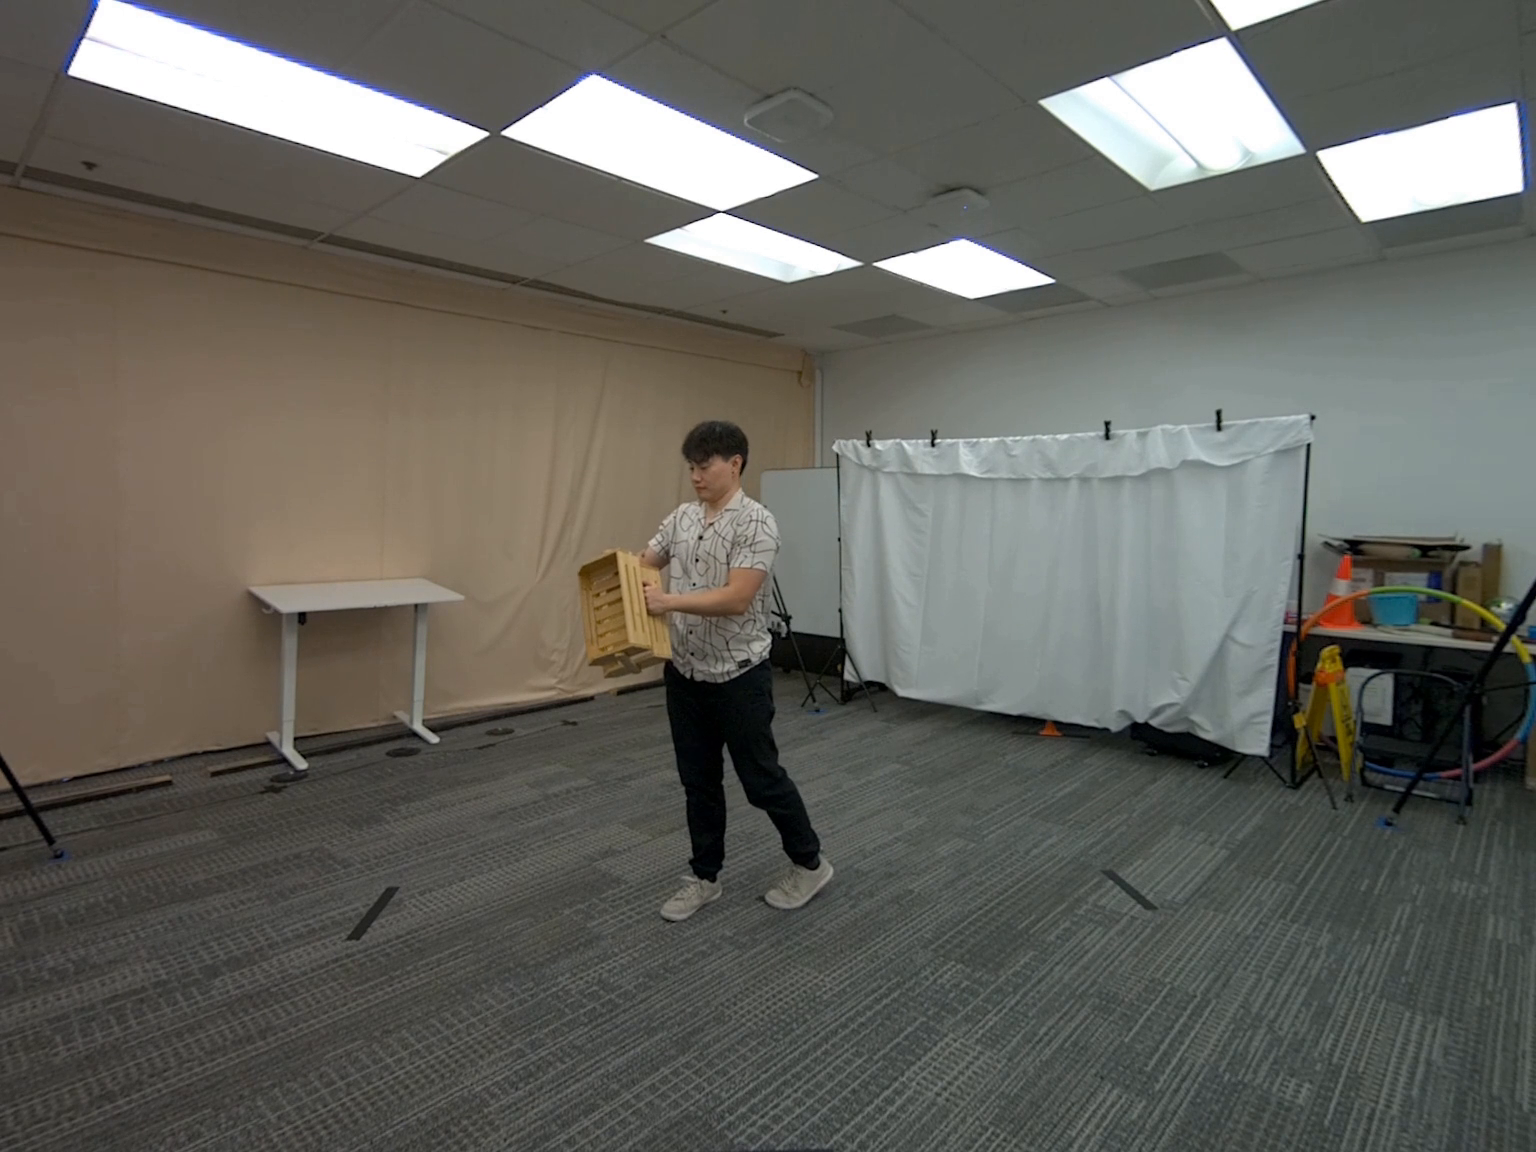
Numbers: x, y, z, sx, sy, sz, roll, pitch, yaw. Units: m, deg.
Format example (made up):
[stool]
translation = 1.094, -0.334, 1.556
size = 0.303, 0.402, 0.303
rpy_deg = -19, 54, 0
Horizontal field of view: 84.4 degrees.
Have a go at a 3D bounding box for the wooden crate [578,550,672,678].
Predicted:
[wooden crate]
translation = -0.475, 0.128, 2.606
size = 0.308, 0.329, 0.264
rpy_deg = -22, -21, 29
